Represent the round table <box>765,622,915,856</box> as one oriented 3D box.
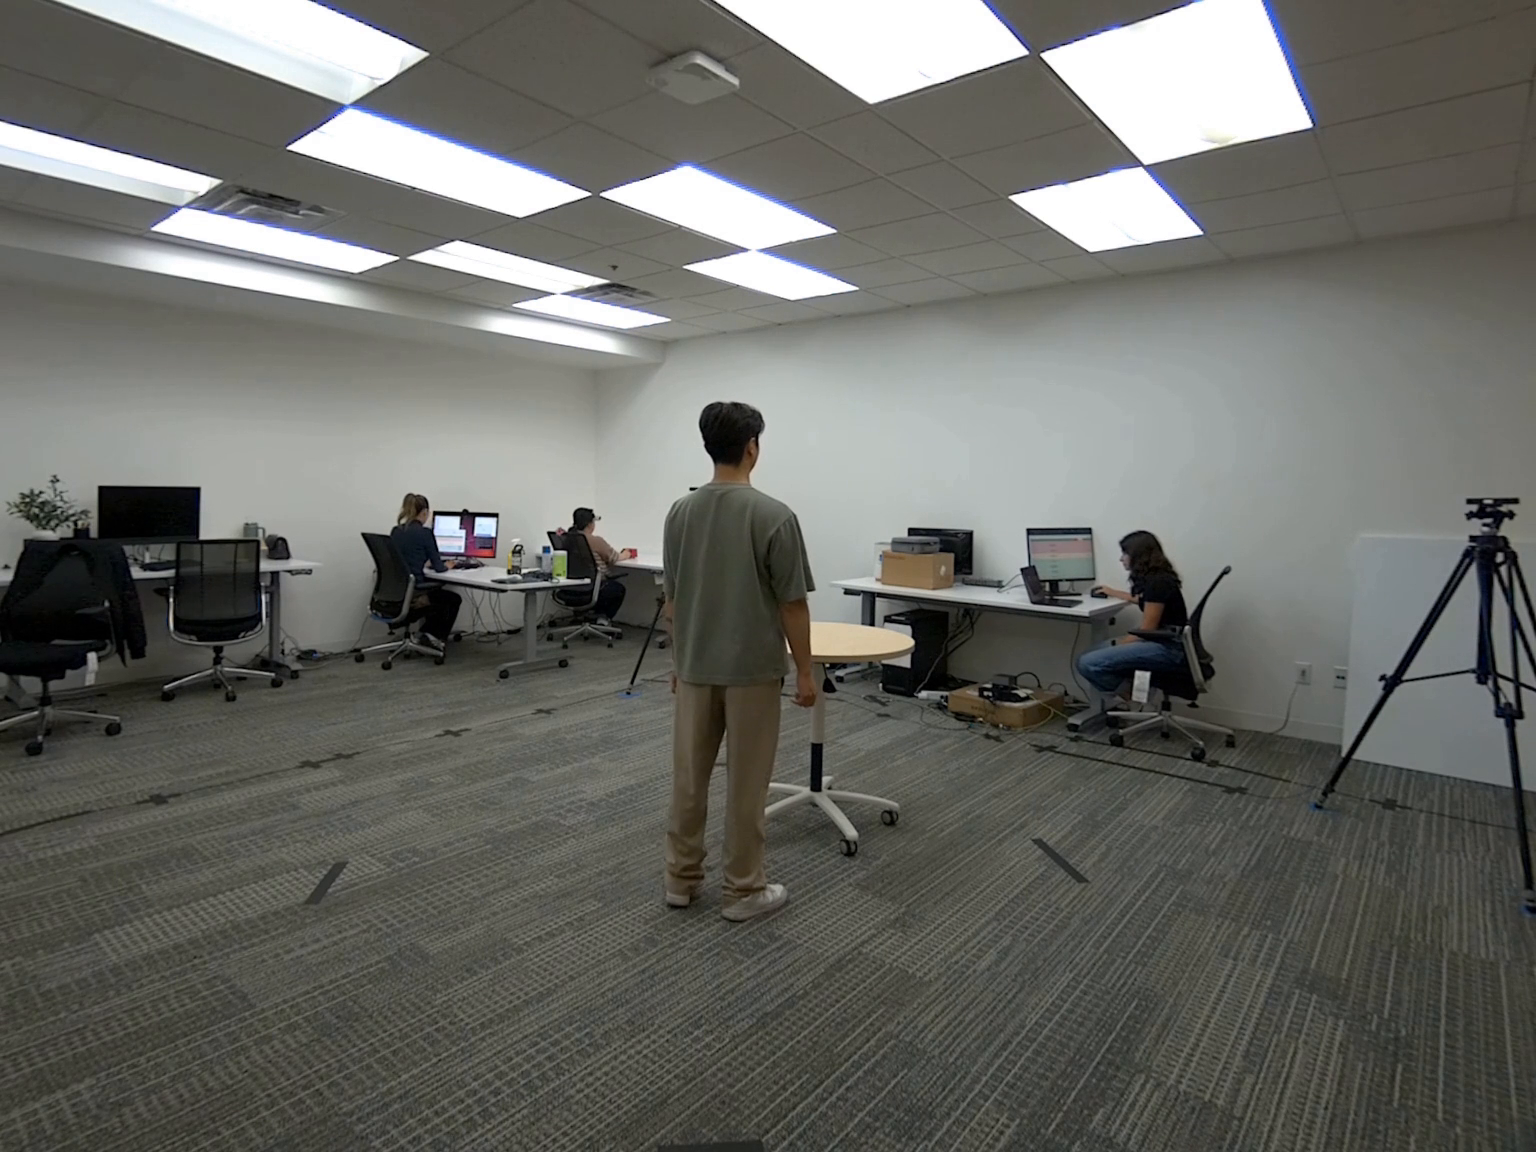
[{"bbox_3d":[0.201,0.635,3.547,0.784,0.783,0.790,1,5,-2],"label":"round table"}]
